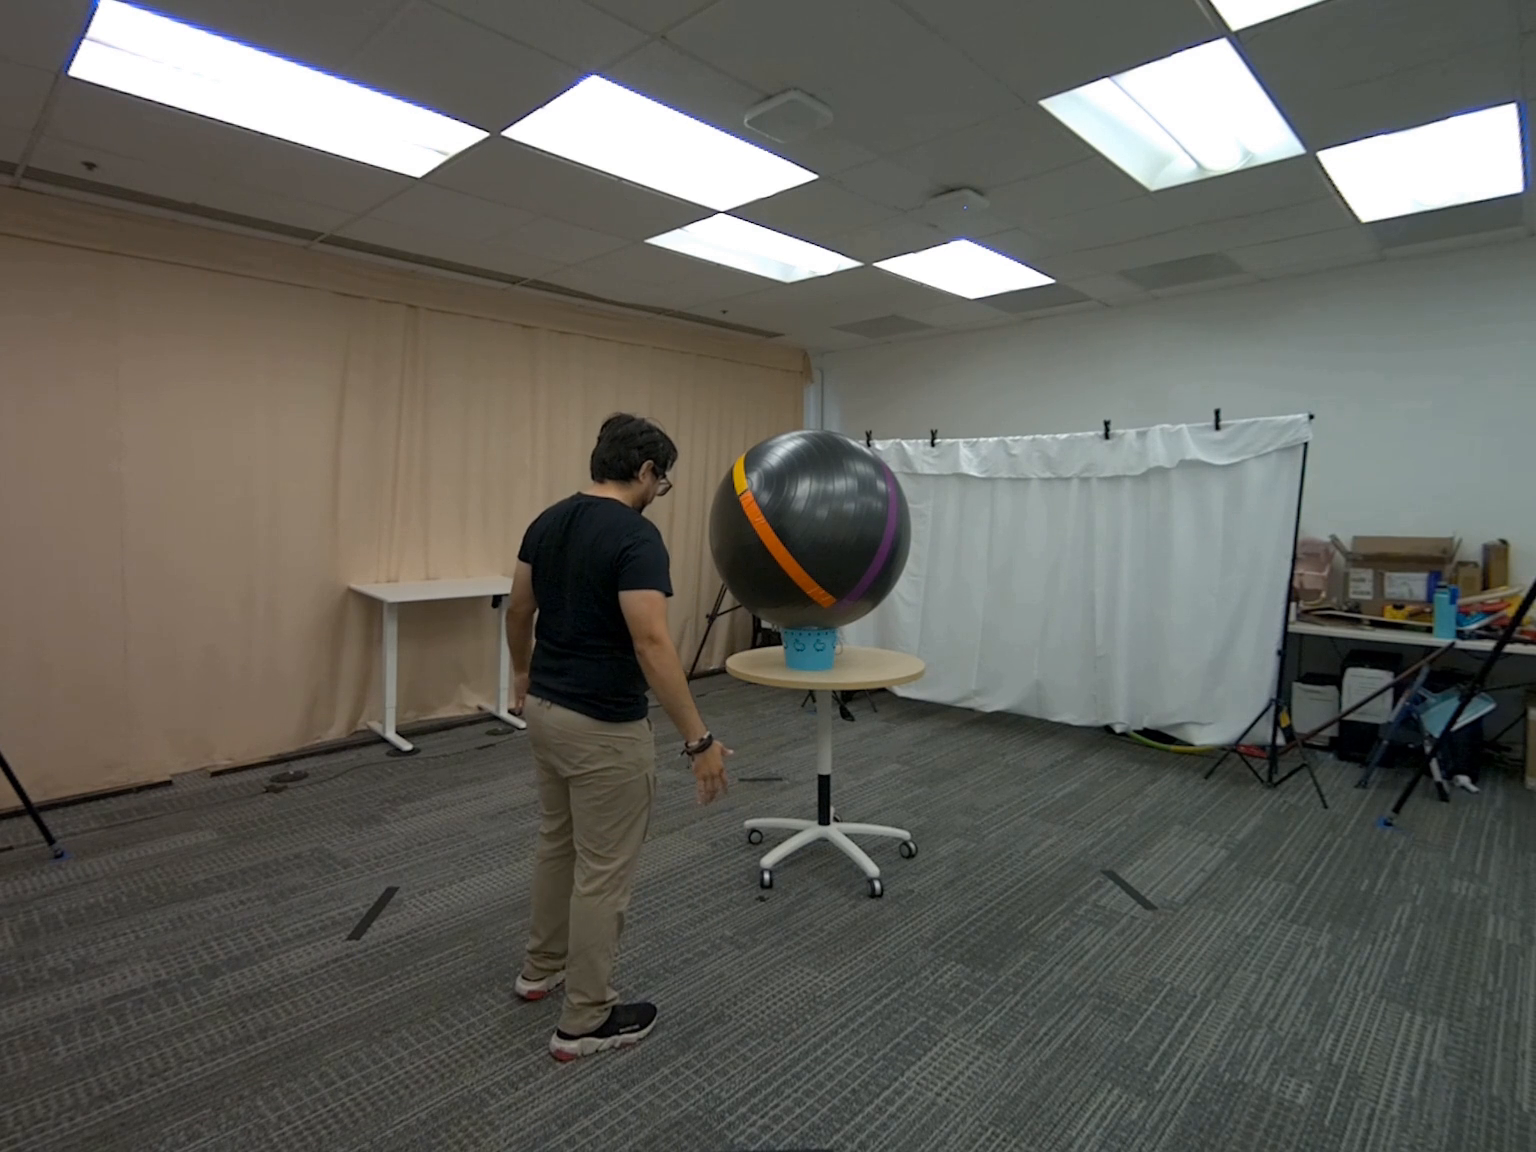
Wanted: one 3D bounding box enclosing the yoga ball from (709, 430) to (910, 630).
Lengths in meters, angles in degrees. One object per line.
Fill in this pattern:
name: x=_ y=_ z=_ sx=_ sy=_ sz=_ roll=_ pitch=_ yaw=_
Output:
yoga ball: x=0.151 y=-0.165 z=3.177 sx=0.757 sy=0.756 sz=0.760 roll=0 pitch=4 yaw=-2
